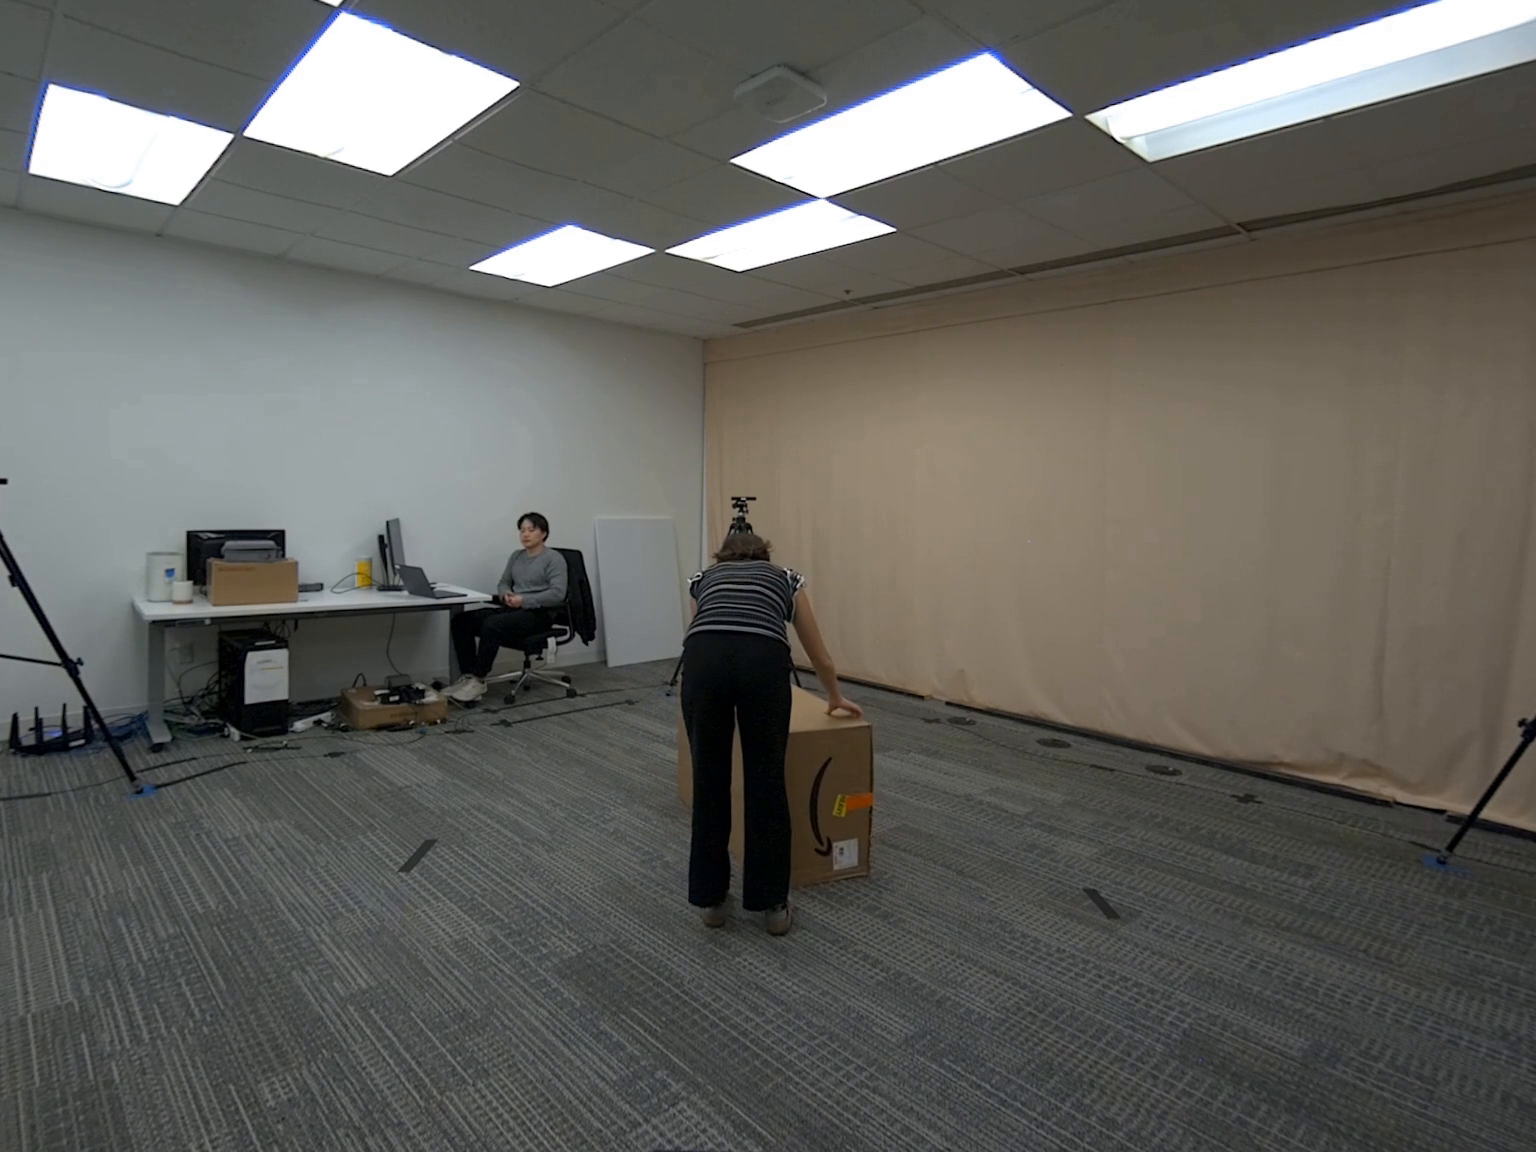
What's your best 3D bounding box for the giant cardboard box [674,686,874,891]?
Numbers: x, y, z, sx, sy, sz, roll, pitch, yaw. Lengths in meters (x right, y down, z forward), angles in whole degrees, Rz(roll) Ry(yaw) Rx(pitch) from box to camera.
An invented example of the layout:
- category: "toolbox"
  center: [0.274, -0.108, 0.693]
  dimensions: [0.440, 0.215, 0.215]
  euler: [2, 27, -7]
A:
- category: "giant cardboard box"
  center: [-0.018, 0.781, 3.513]
  dimensions: [0.419, 0.576, 1.046]
  euler: [0, 6, -22]
